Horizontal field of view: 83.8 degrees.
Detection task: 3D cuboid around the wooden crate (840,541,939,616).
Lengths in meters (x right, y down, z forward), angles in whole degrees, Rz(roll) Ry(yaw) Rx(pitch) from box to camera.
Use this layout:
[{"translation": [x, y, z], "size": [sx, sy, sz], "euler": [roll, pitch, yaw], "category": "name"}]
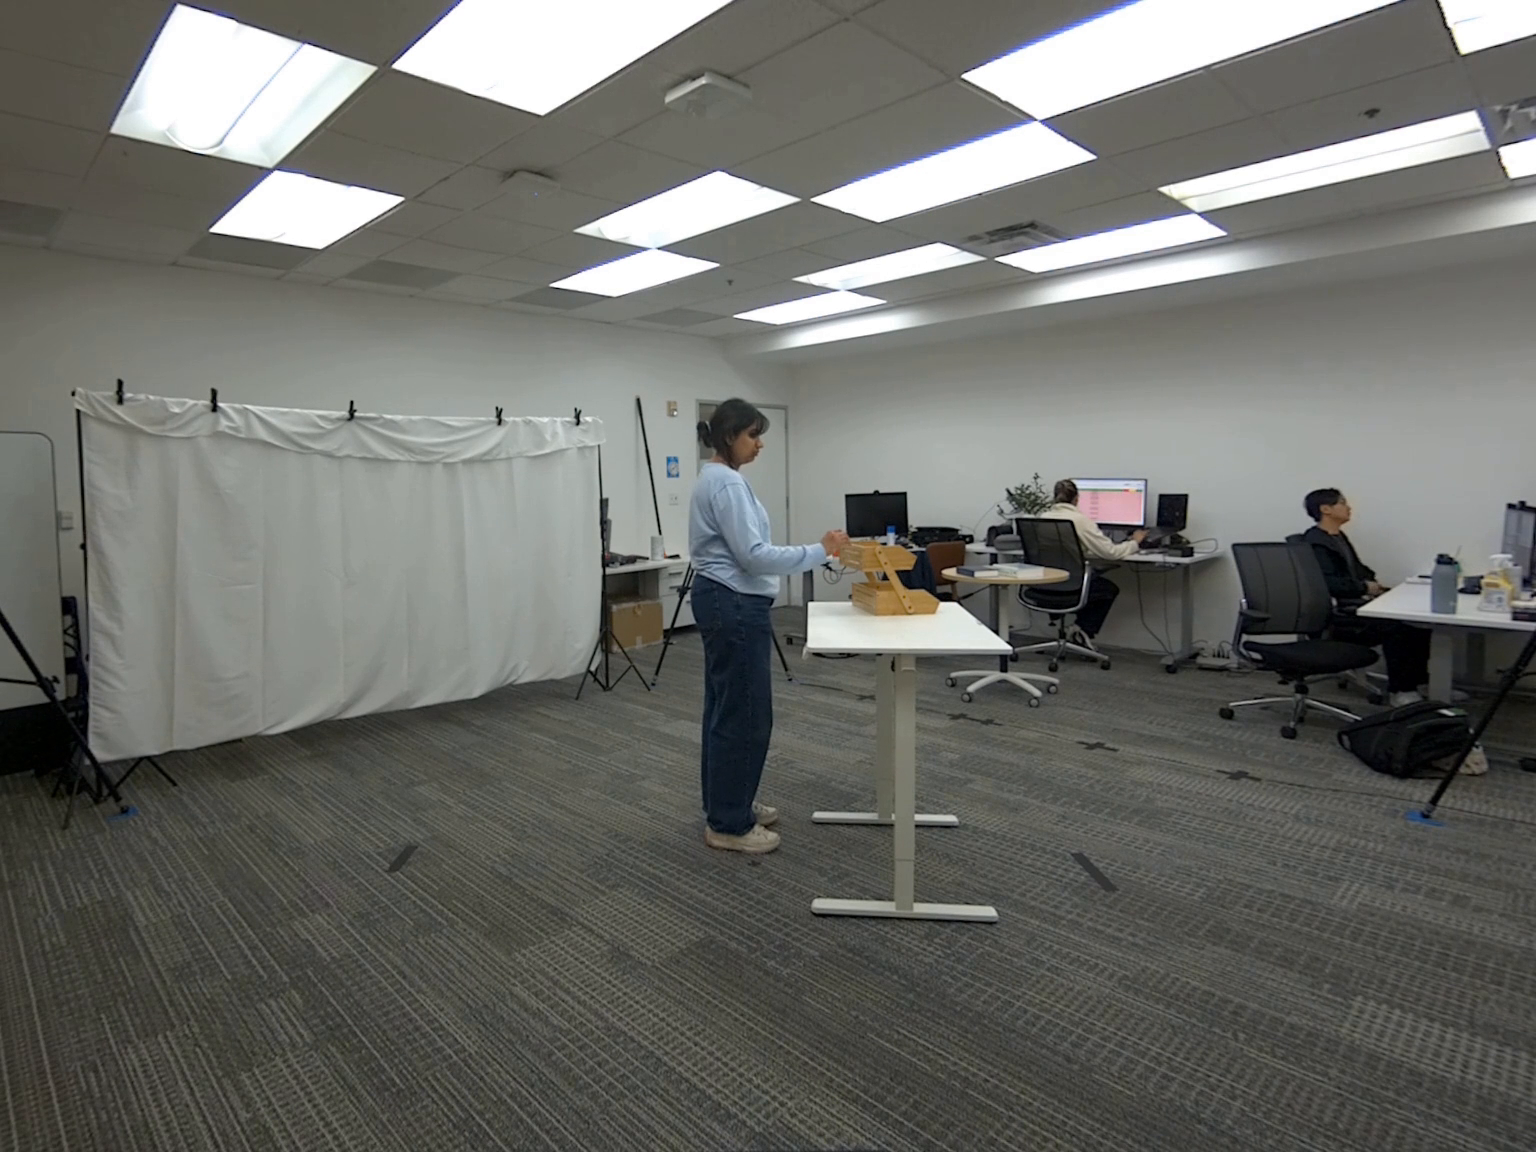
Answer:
[{"translation": [0.466, 0.000, 3.323], "size": [0.299, 0.272, 0.329], "euler": [-2, 5, -11], "category": "wooden crate"}]
